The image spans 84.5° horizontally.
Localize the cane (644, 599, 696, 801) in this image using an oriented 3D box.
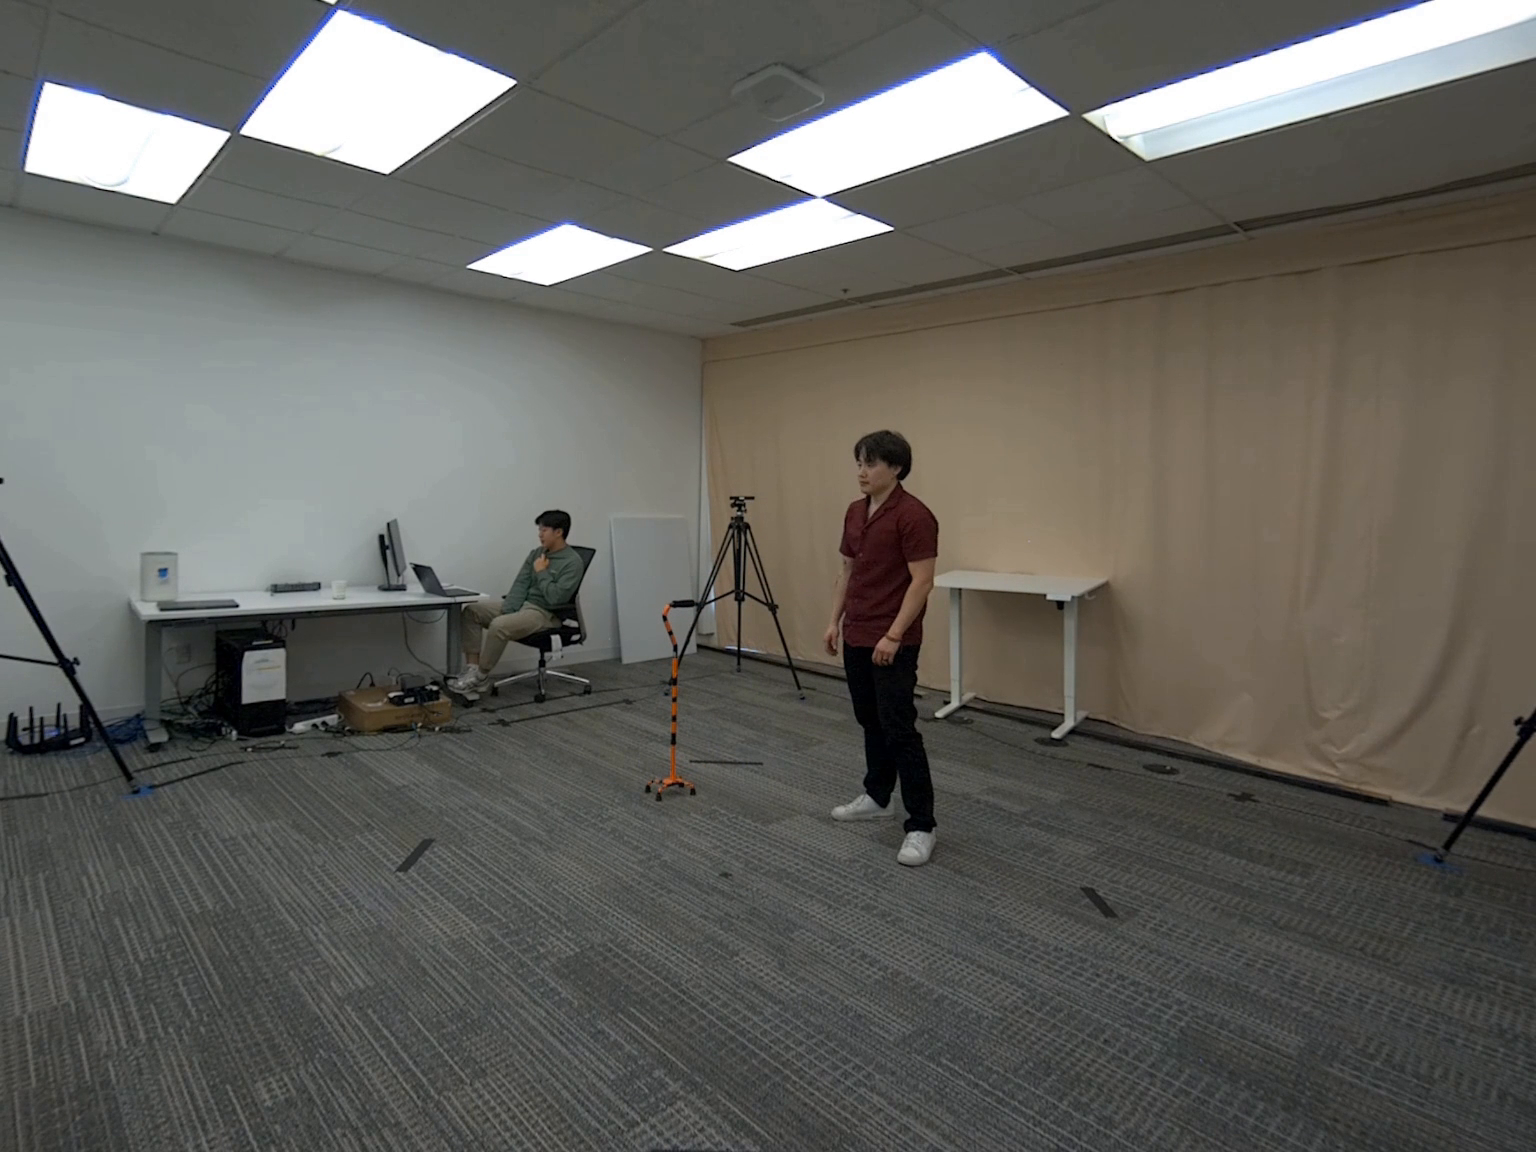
[{"bbox_3d":[-0.455,0.572,3.939,0.202,0.906,0.155,0,3,-30],"label":"cane"}]
